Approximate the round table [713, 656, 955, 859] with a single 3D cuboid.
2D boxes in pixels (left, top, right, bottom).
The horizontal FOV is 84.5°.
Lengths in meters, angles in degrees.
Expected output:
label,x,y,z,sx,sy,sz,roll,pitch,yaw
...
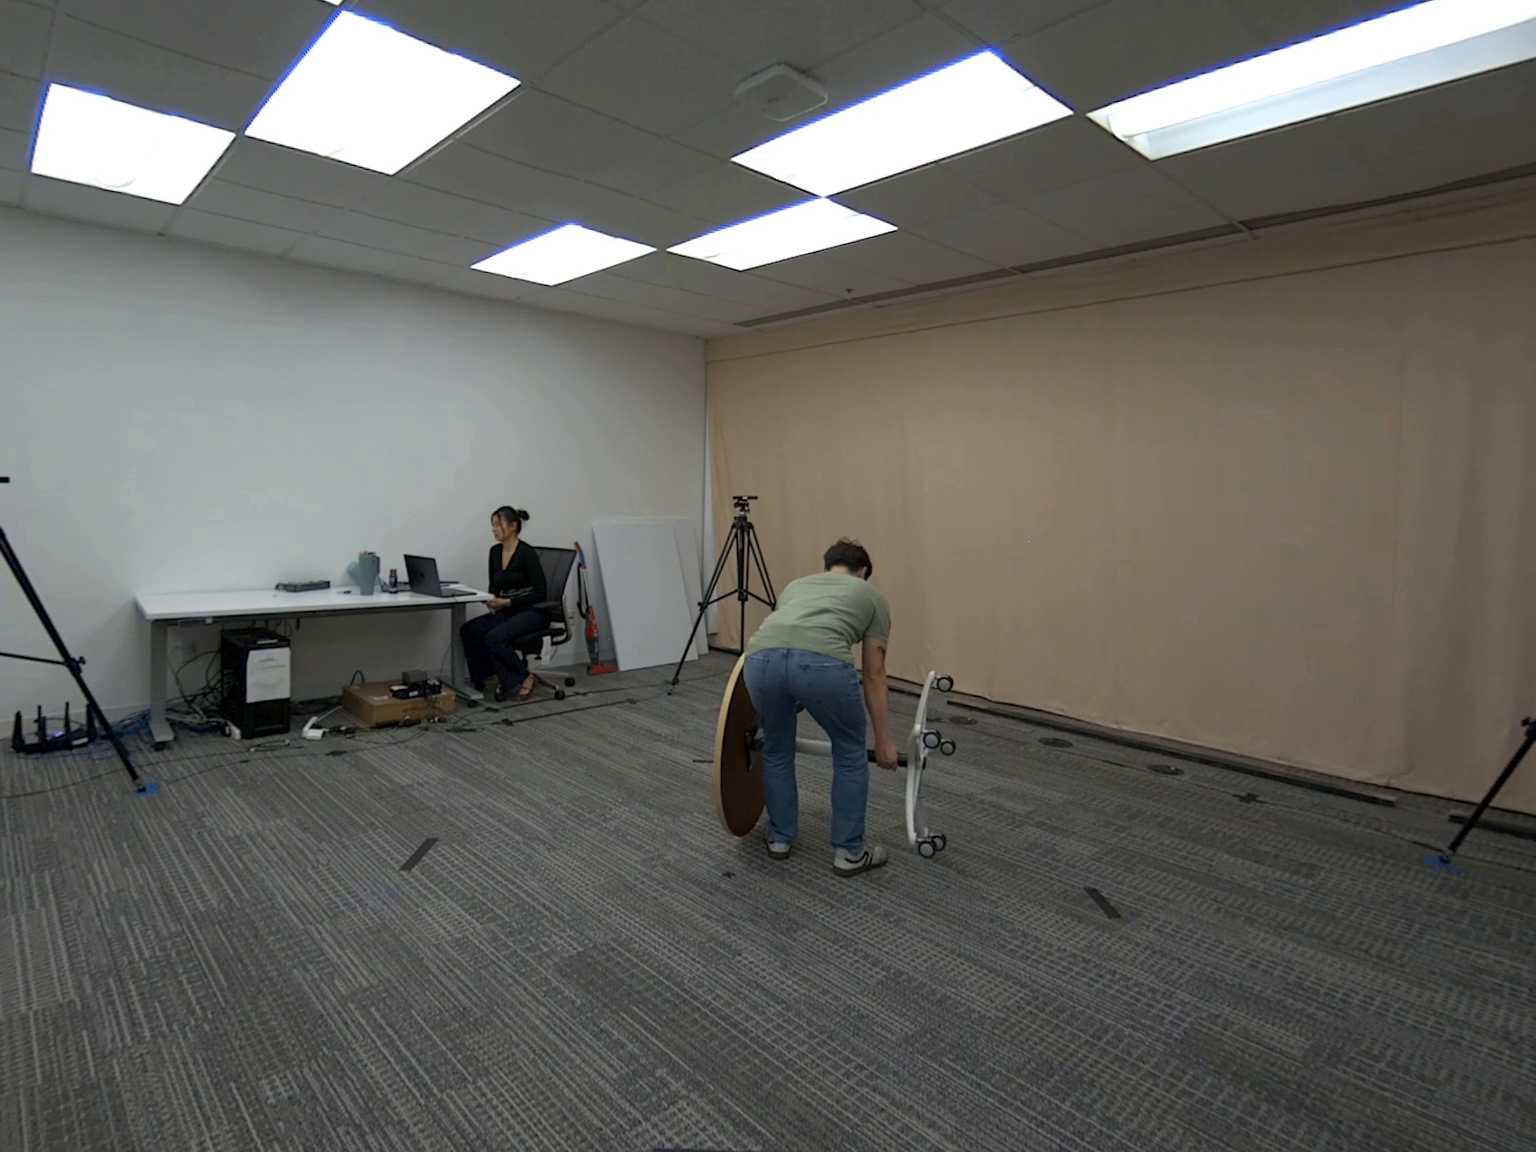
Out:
label,x,y,z,sx,sy,sz,roll,pitch,yaw
round table,0.292,0.700,3.318,0.807,0.761,0.754,4,5,19
